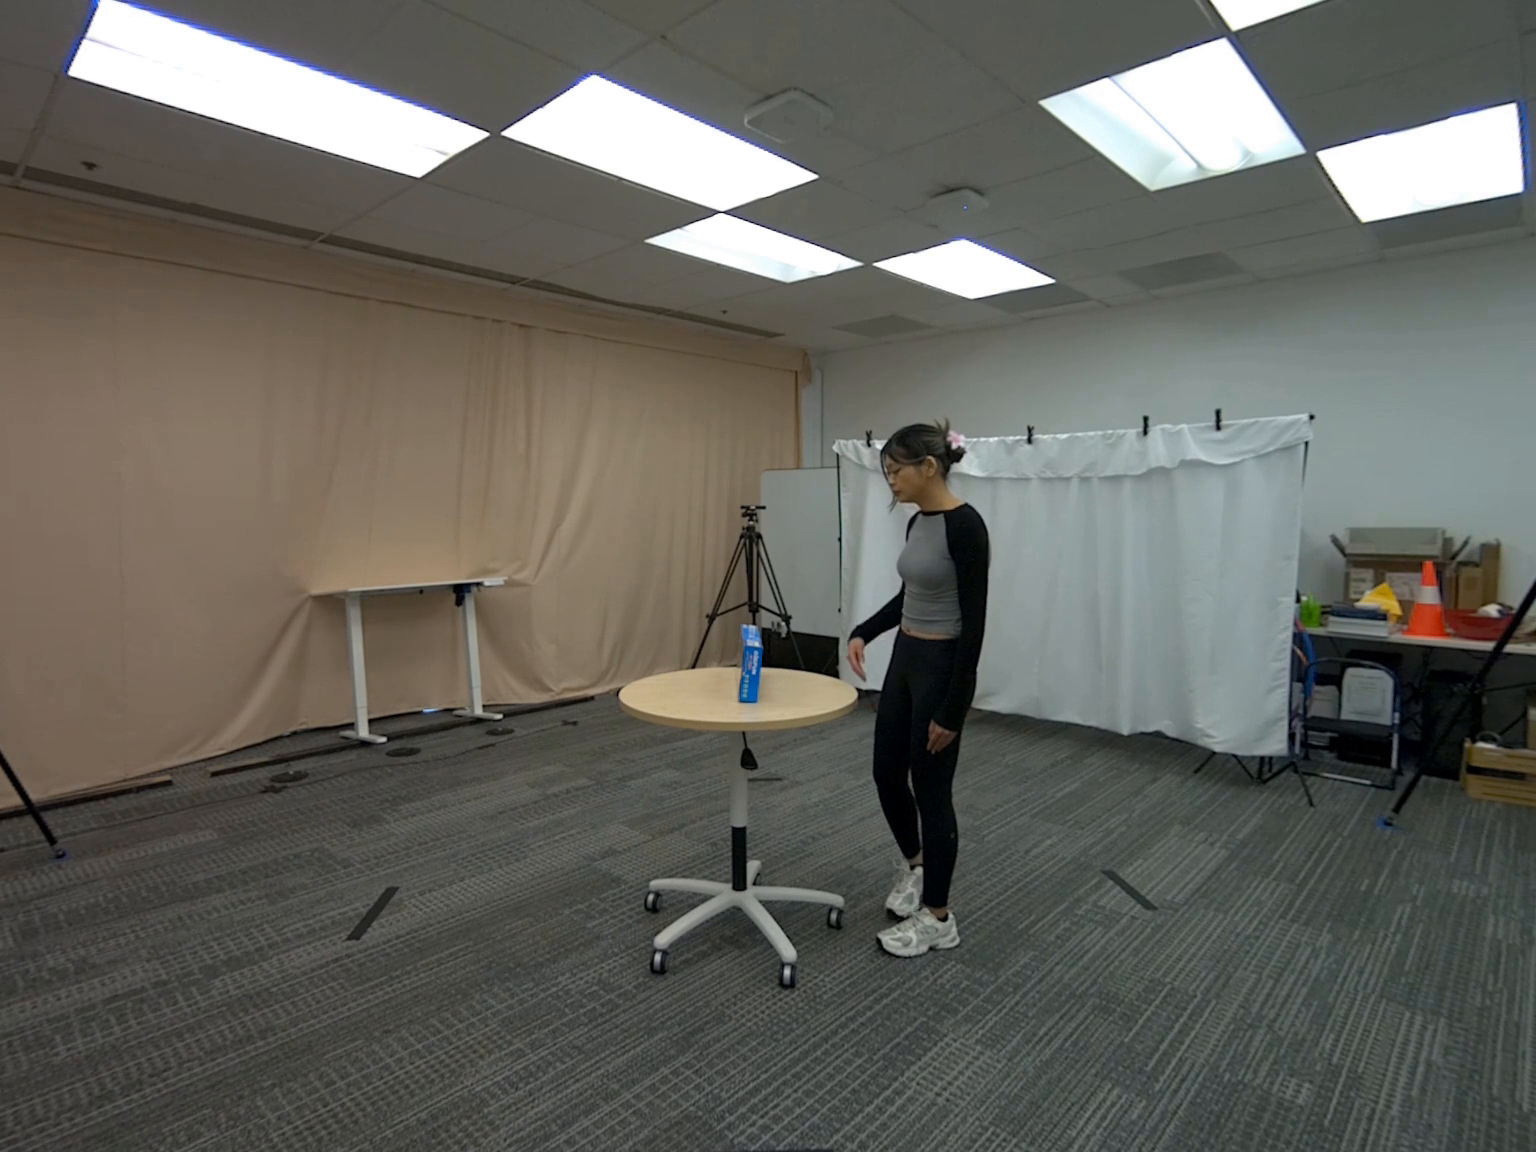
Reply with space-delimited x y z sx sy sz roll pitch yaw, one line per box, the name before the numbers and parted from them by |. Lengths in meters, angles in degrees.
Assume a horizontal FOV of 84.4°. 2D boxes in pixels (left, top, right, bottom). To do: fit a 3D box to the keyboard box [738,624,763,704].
keyboard box | -0.053 0.274 2.770 0.059 0.175 0.439 3 4 -6
